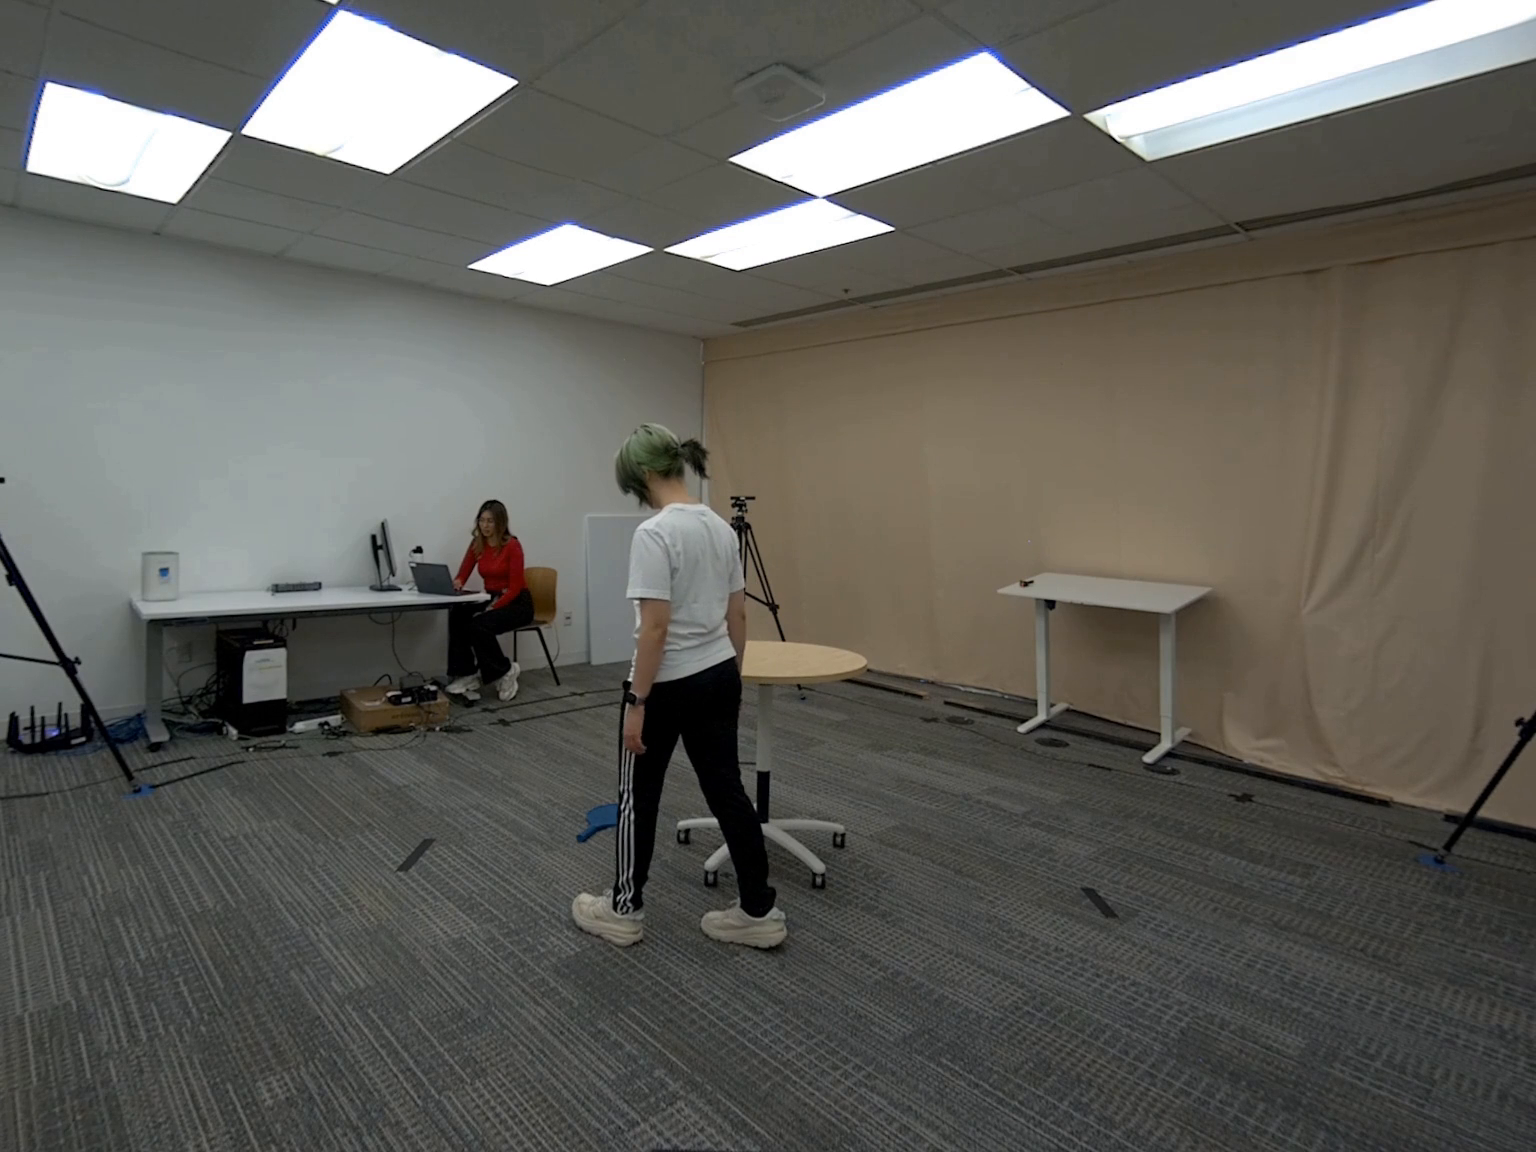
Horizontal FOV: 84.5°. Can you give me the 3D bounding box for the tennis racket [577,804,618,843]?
[{"bbox_3d":[-0.701,1.033,3.571,0.216,0.032,0.428,2,3,15],"label":"tennis racket"}]
